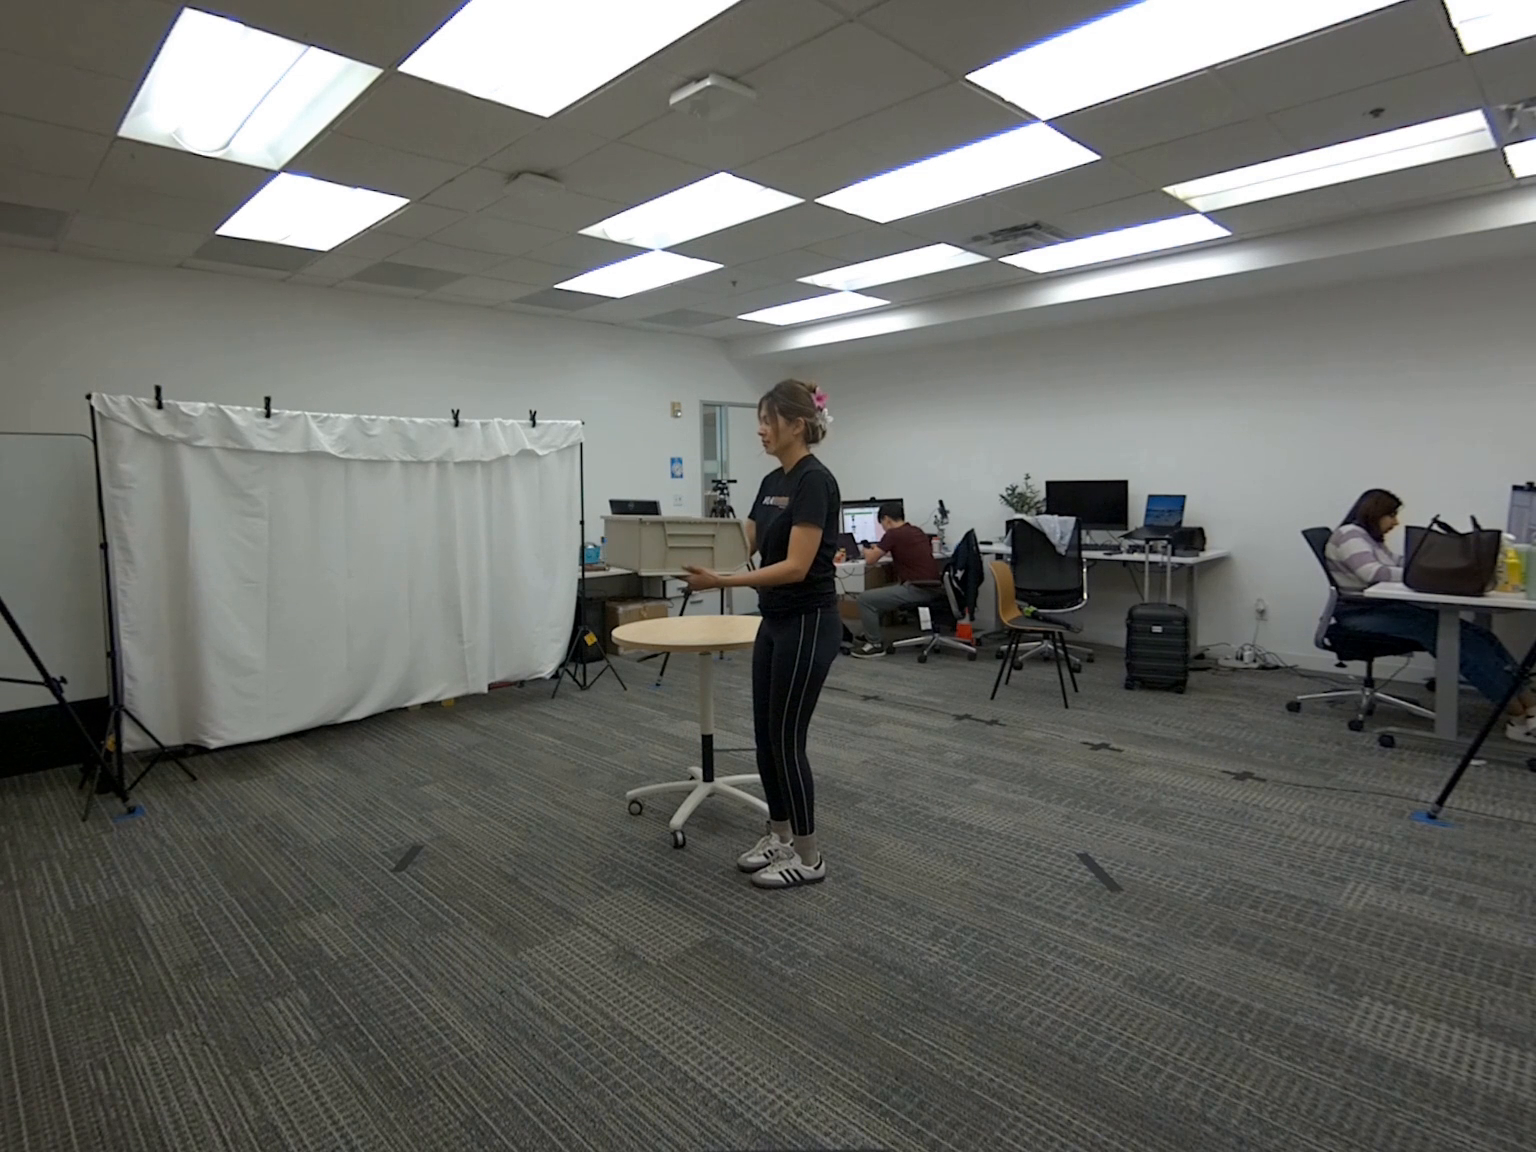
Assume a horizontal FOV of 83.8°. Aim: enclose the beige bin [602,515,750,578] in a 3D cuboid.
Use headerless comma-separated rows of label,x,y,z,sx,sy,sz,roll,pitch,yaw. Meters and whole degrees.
beige bin,-0.319,-0.104,2.841,0.369,0.188,0.433,-1,5,-25
